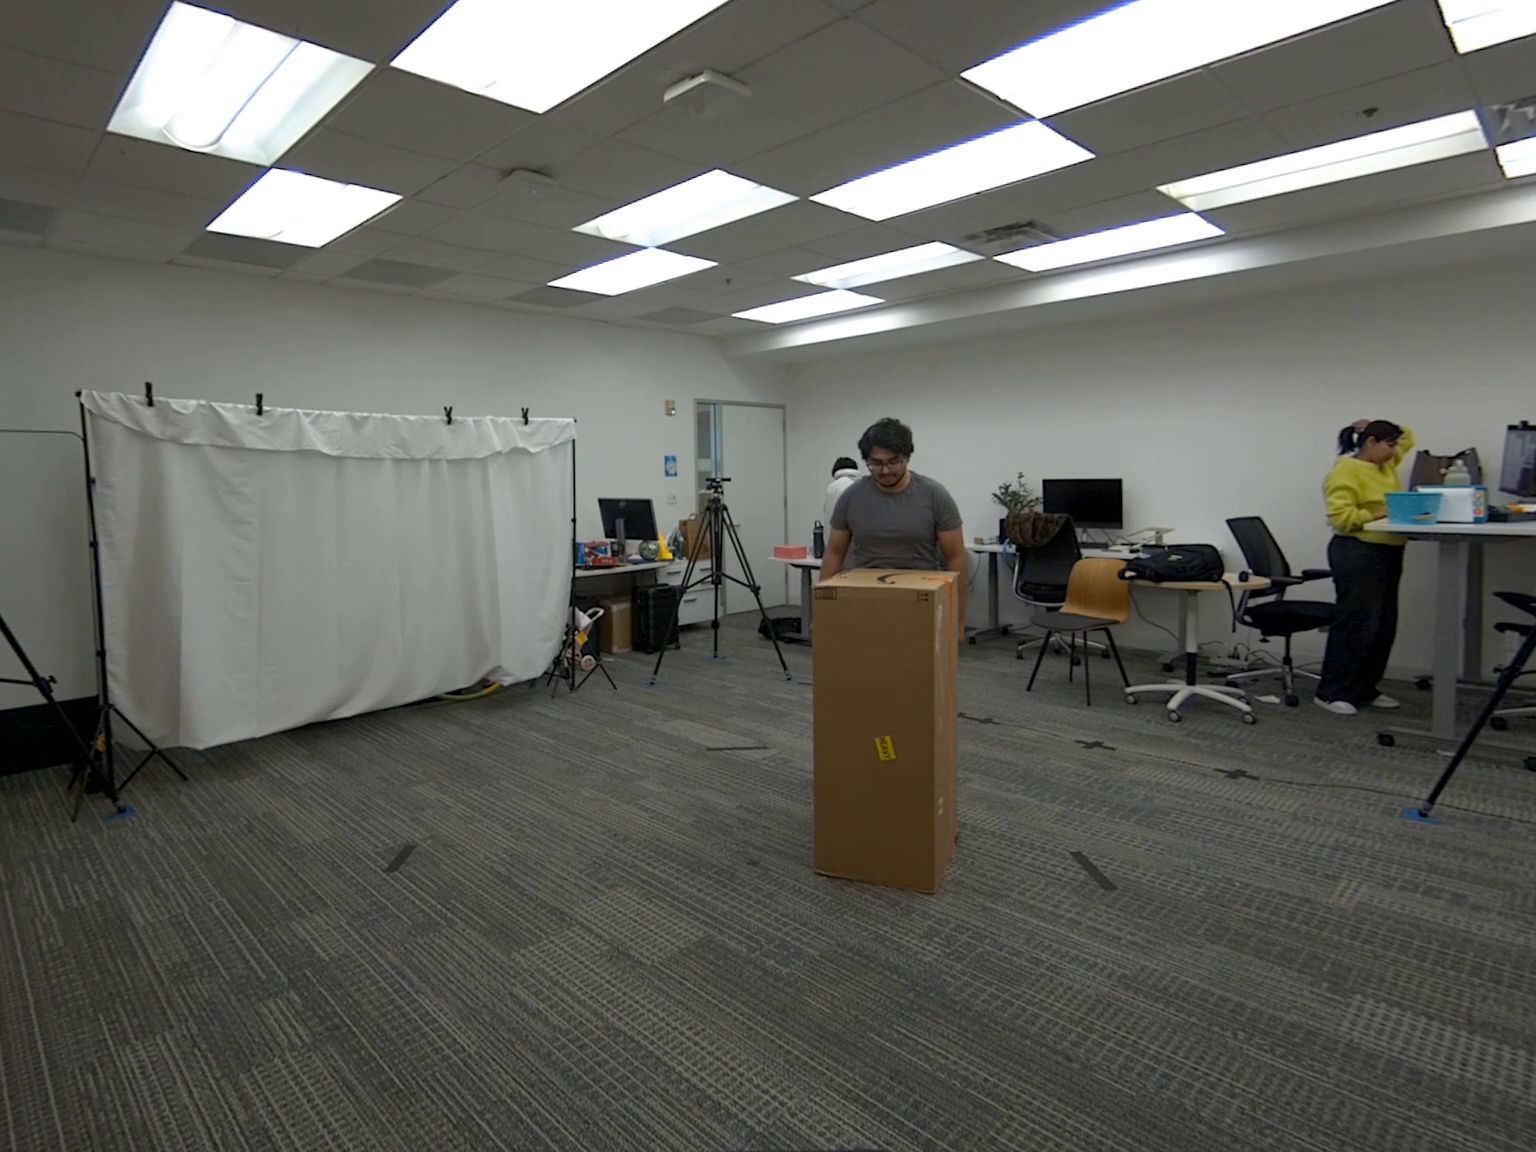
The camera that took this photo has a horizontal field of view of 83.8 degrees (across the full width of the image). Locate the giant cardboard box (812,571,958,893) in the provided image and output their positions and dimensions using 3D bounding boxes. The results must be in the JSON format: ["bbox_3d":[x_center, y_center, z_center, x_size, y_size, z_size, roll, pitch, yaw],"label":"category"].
[{"bbox_3d":[0.450,0.522,3.153,0.456,1.024,0.574,0,4,21],"label":"giant cardboard box"}]
